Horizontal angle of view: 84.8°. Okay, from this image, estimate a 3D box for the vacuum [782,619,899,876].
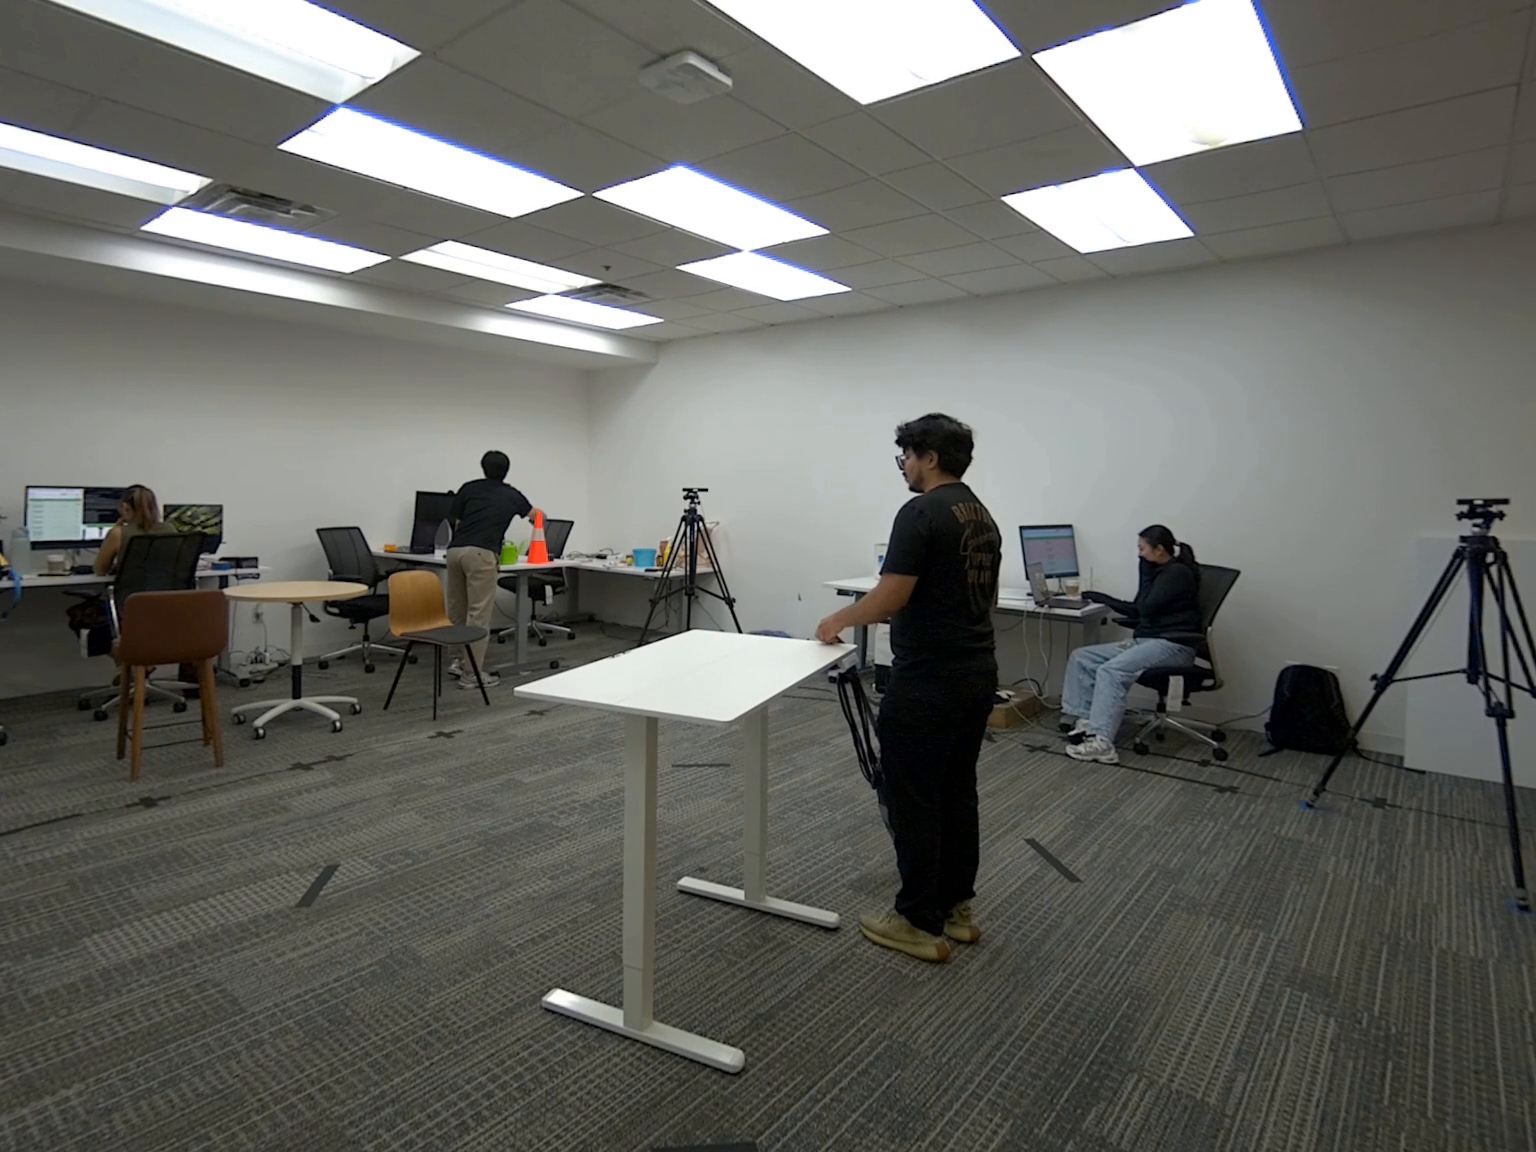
[{"bbox_3d":[0.372,0.632,2.953,0.260,1.023,0.143,-1,30,45],"label":"vacuum"}]
